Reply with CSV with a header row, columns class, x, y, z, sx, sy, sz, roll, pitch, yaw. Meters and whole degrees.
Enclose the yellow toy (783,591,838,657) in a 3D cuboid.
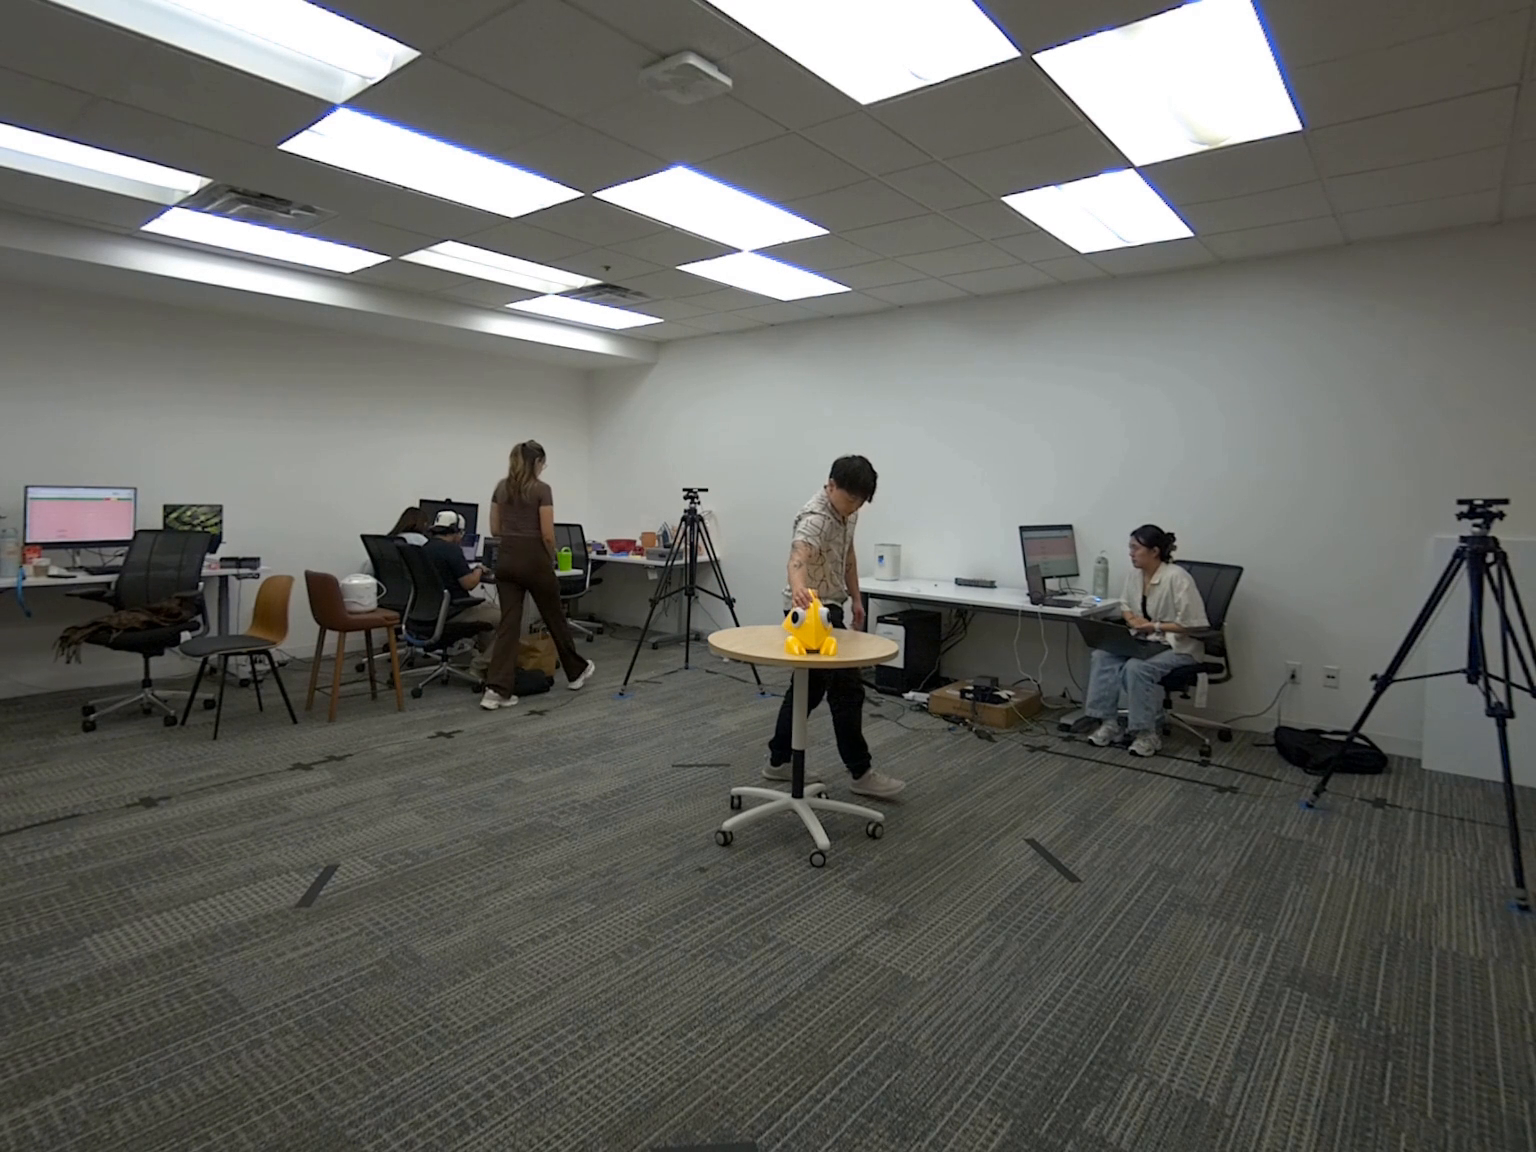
class,x,y,z,sx,sy,sz,roll,pitch,yaw
yellow toy,0.160,0.170,3.244,0.204,0.230,0.194,1,2,-5
